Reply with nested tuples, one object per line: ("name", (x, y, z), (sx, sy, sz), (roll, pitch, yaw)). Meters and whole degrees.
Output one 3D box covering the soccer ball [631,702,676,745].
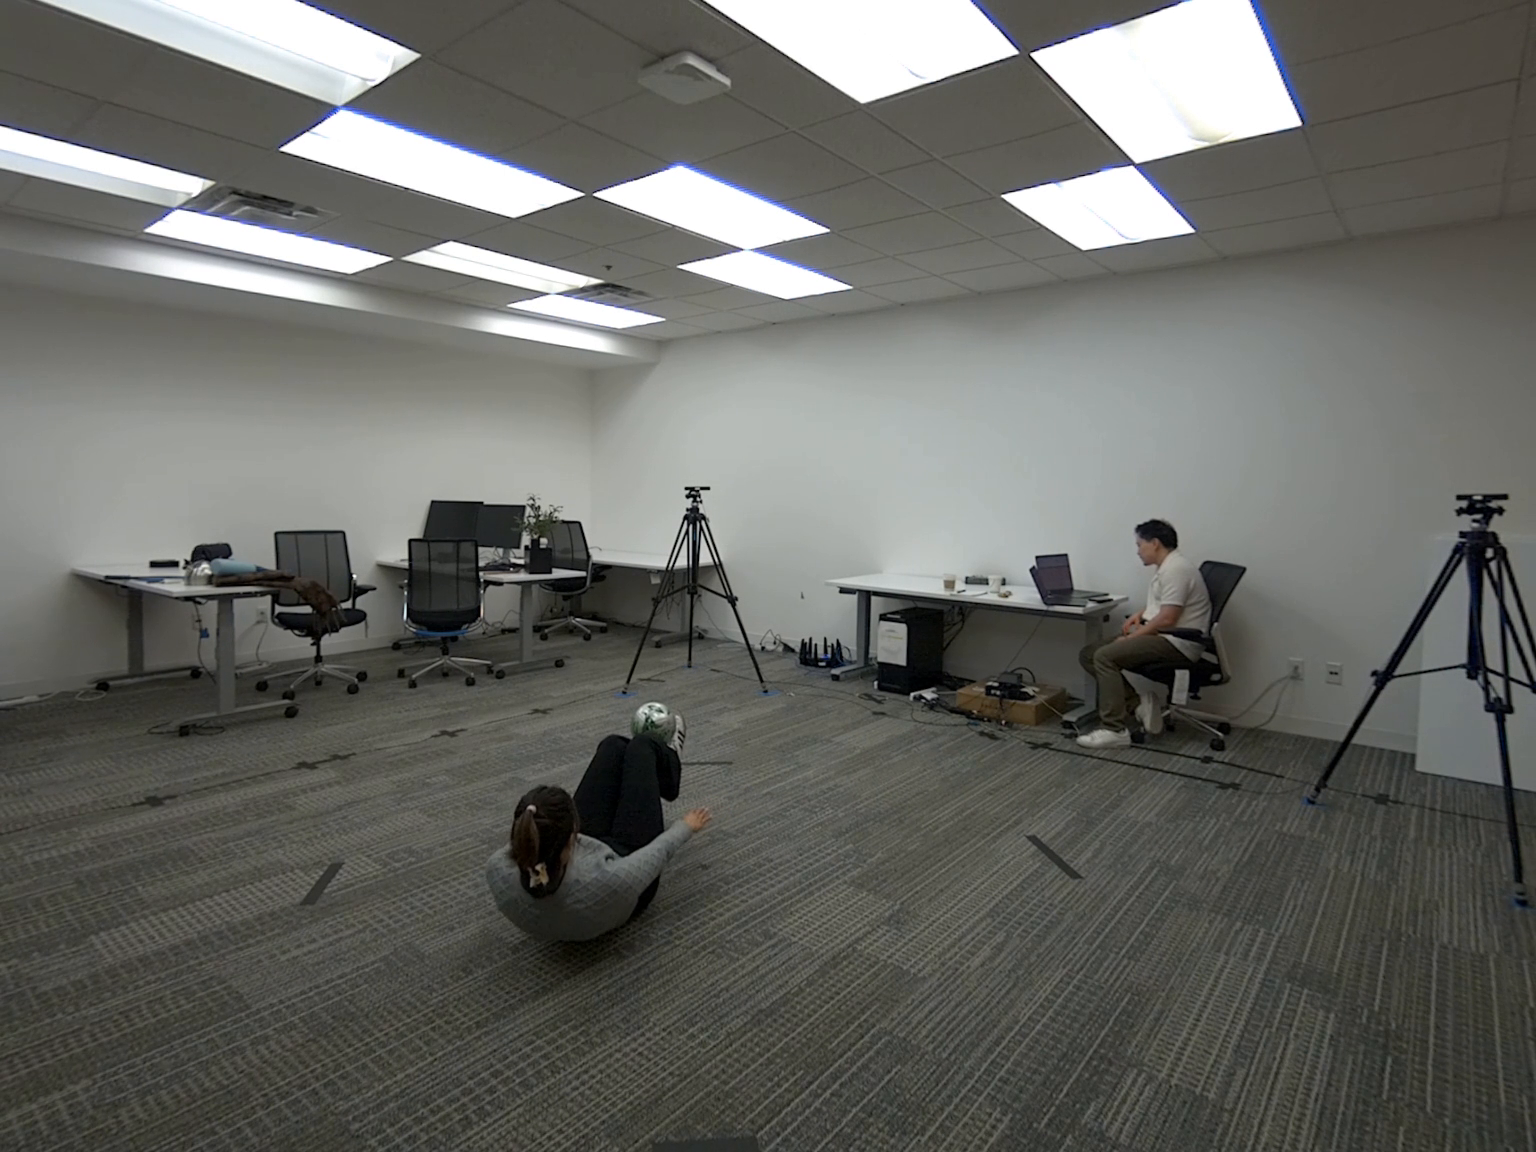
("soccer ball", (-0.474, 0.606, 3.438), (0.187, 0.187, 0.188), (0, 4, -2))
